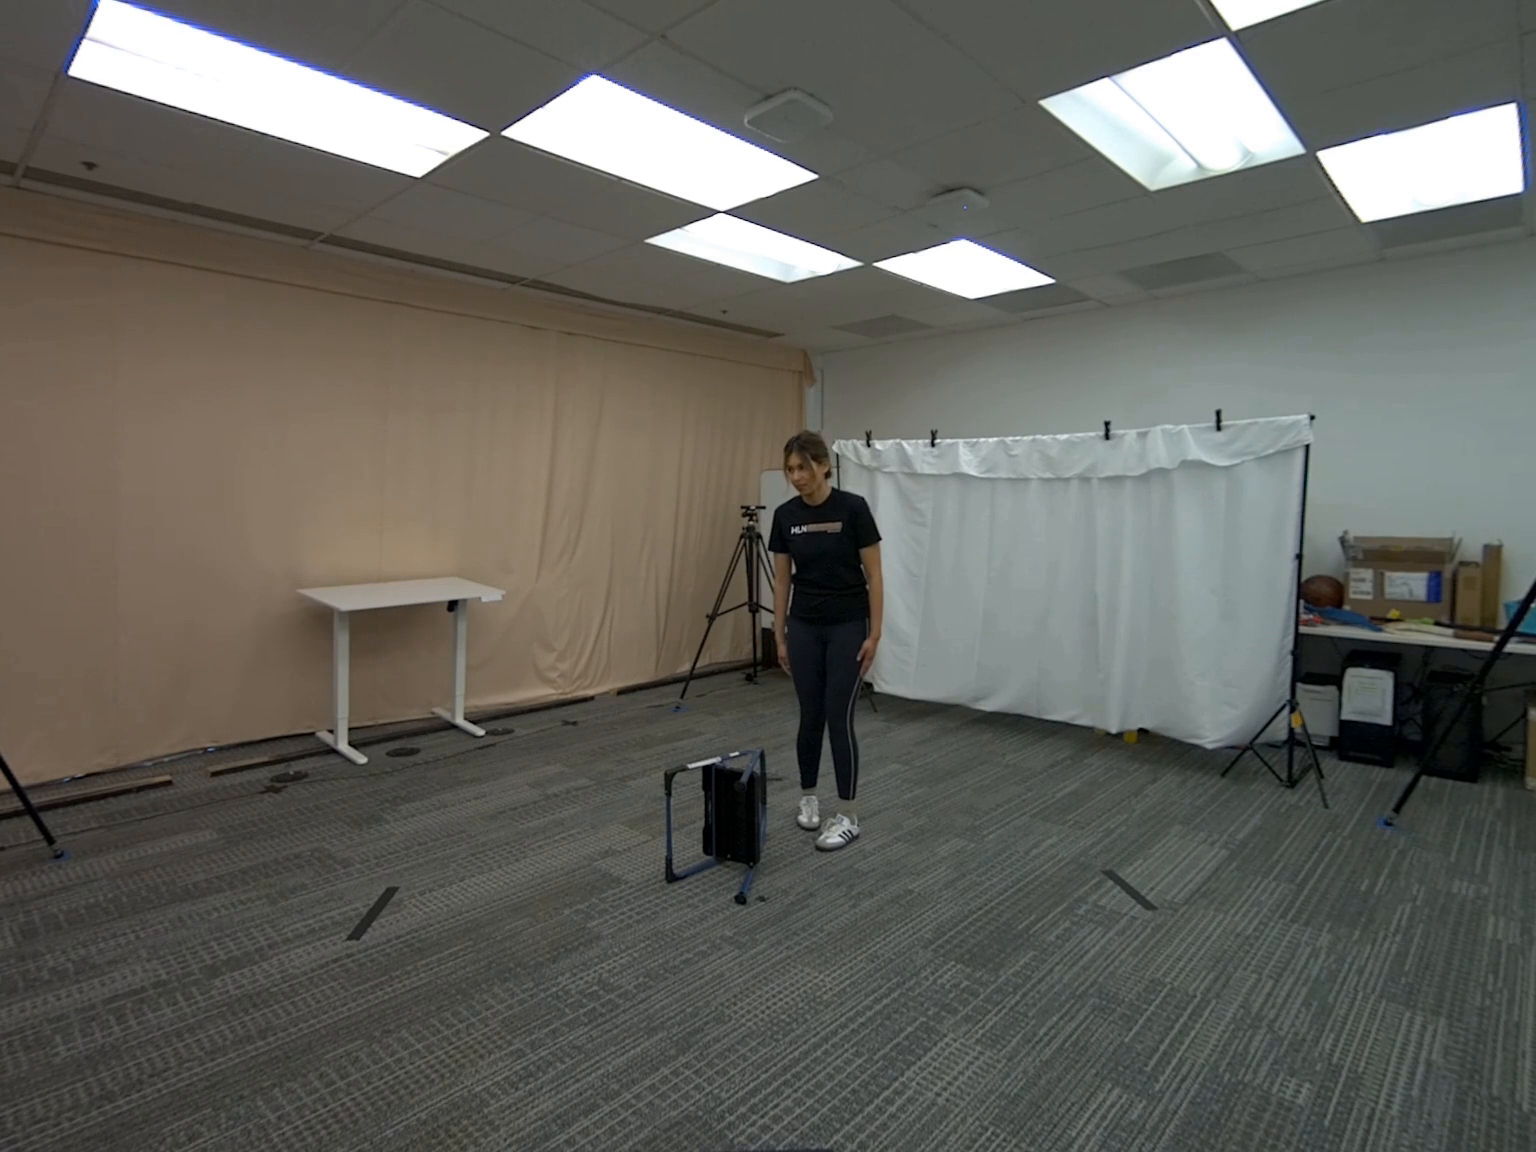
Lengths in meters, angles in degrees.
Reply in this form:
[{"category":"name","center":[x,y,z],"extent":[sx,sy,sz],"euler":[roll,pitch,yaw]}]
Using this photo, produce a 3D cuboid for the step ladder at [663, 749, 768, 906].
[{"category":"step ladder","center":[-0.095,0.916,3.276],"extent":[0.359,0.430,0.589],"euler":[2,3,29]}]
